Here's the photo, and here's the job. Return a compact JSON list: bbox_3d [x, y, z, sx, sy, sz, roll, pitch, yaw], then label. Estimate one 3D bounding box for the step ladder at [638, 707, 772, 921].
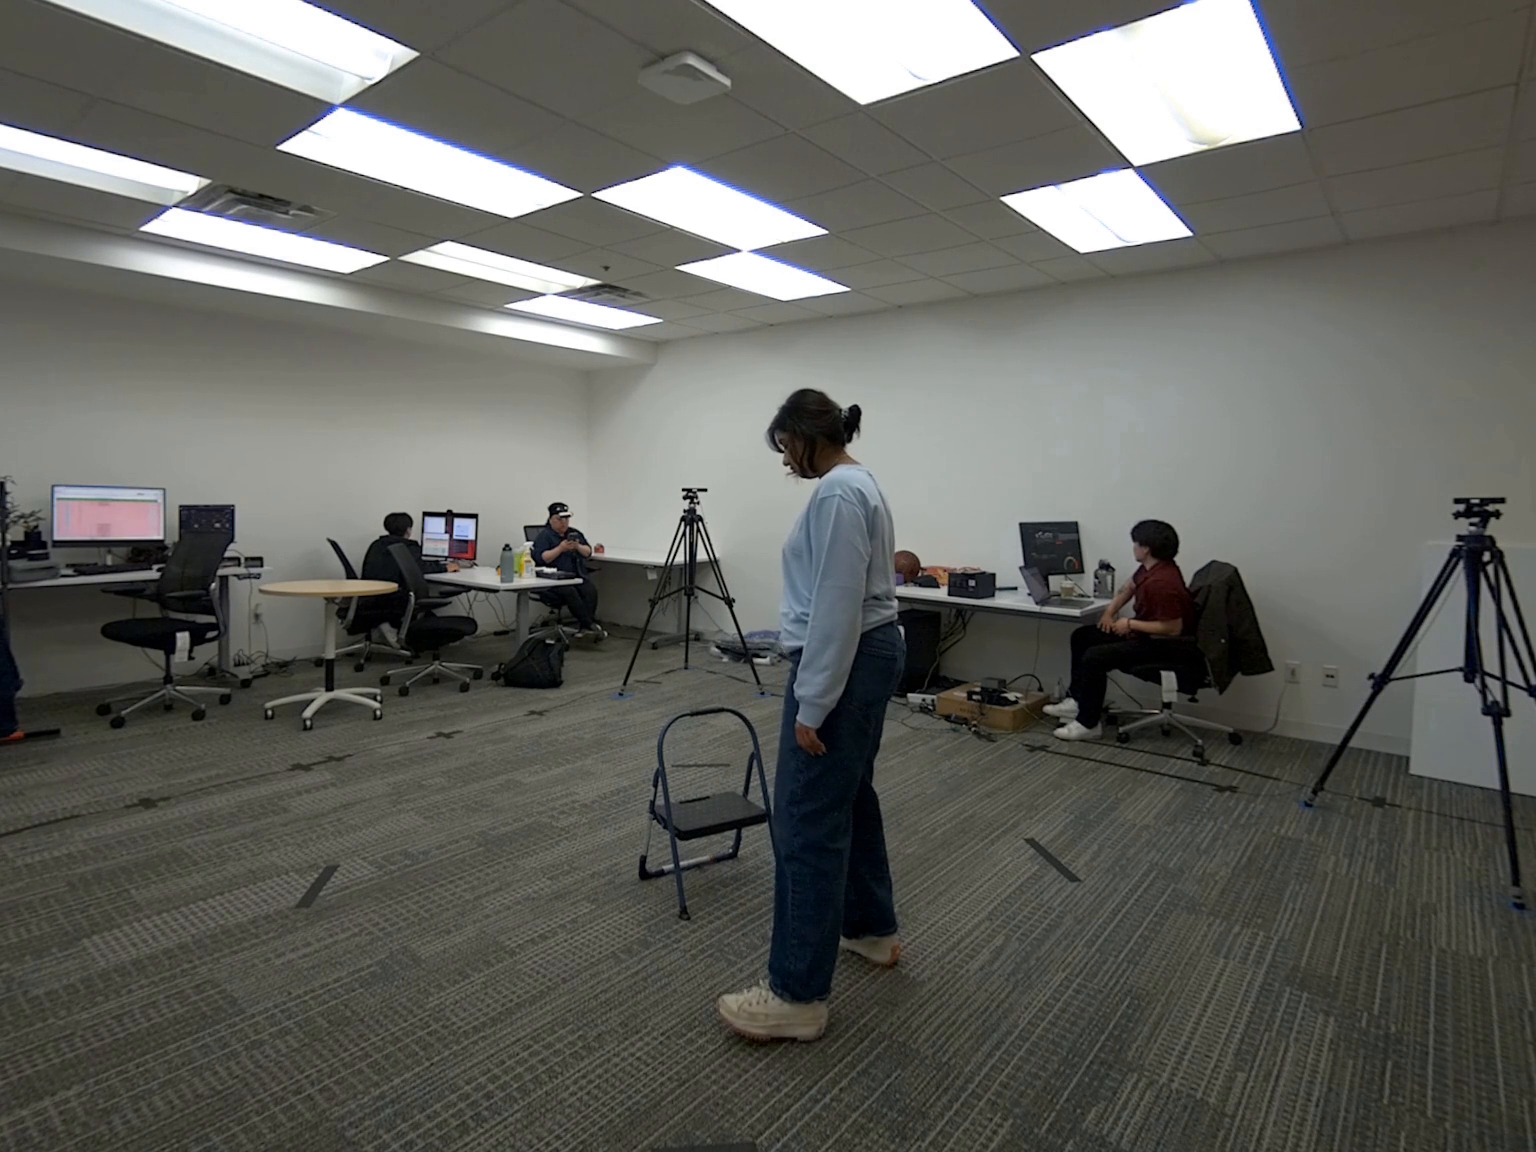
[{"bbox_3d":[-0.200,0.780,2.975,0.418,0.604,0.360,-1,4,-34],"label":"step ladder"}]
